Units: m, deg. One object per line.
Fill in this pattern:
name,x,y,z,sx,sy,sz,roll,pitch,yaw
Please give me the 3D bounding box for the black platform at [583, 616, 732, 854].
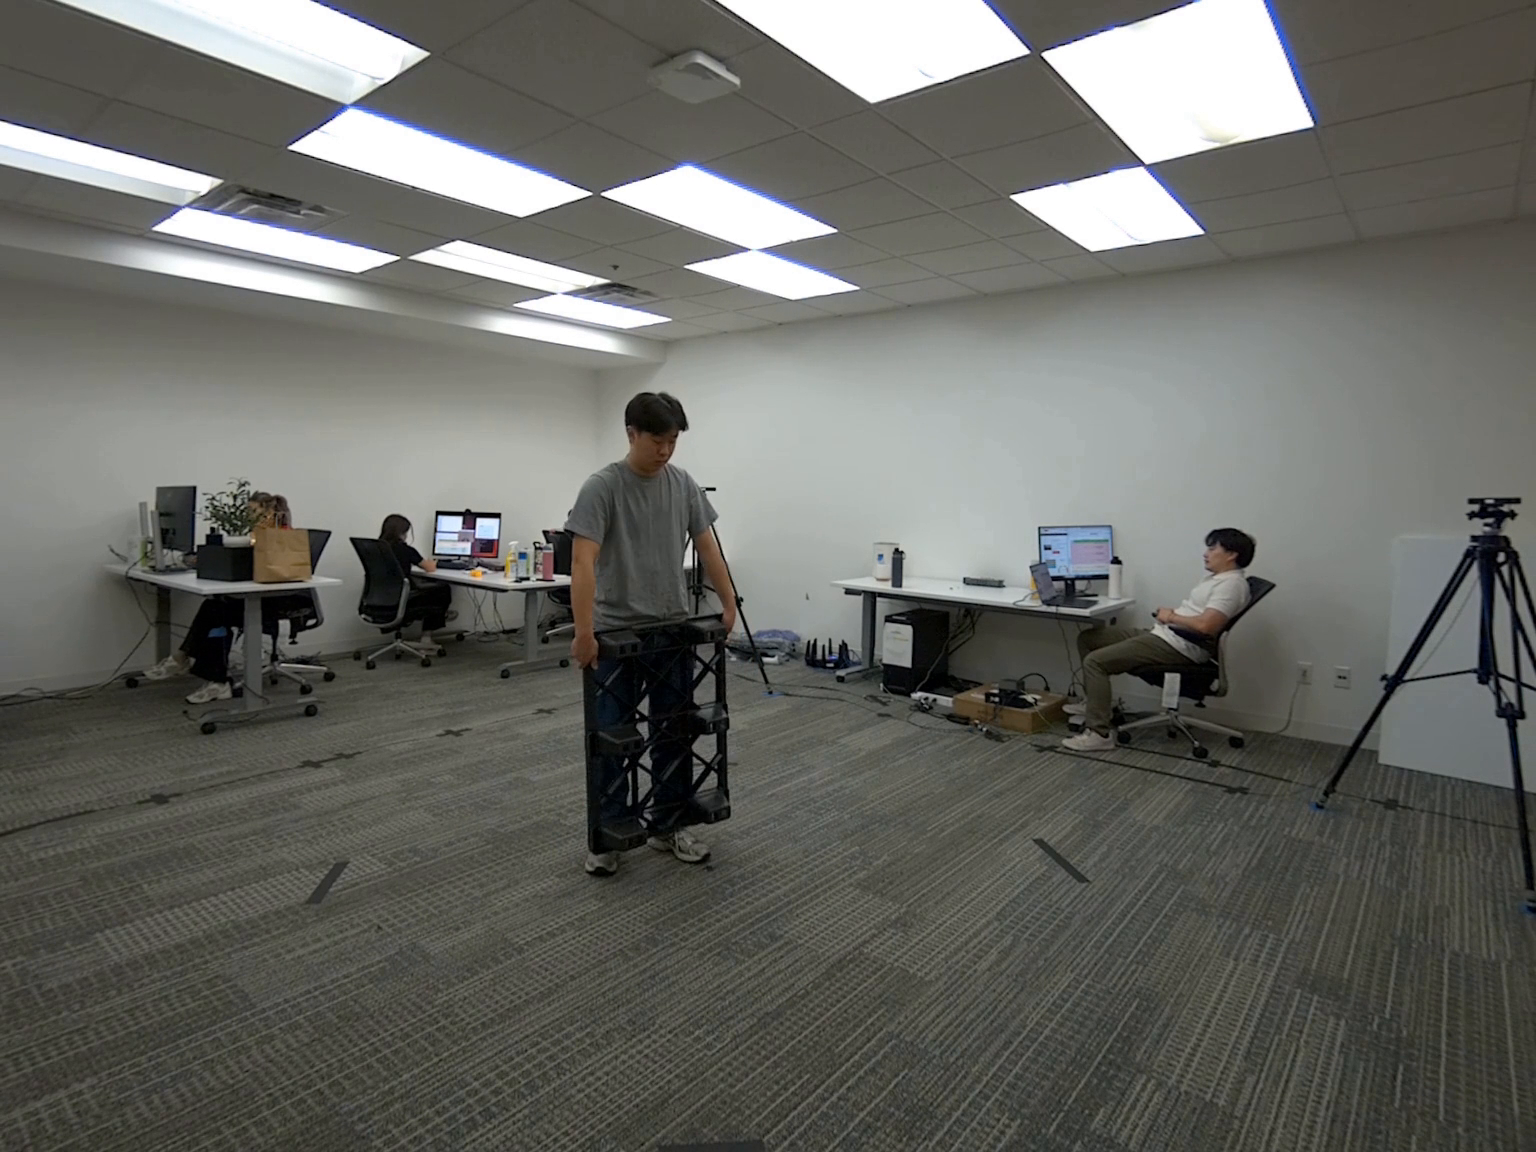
black platform,-0.370,0.577,3.094,0.589,0.802,0.148,-6,5,-35
